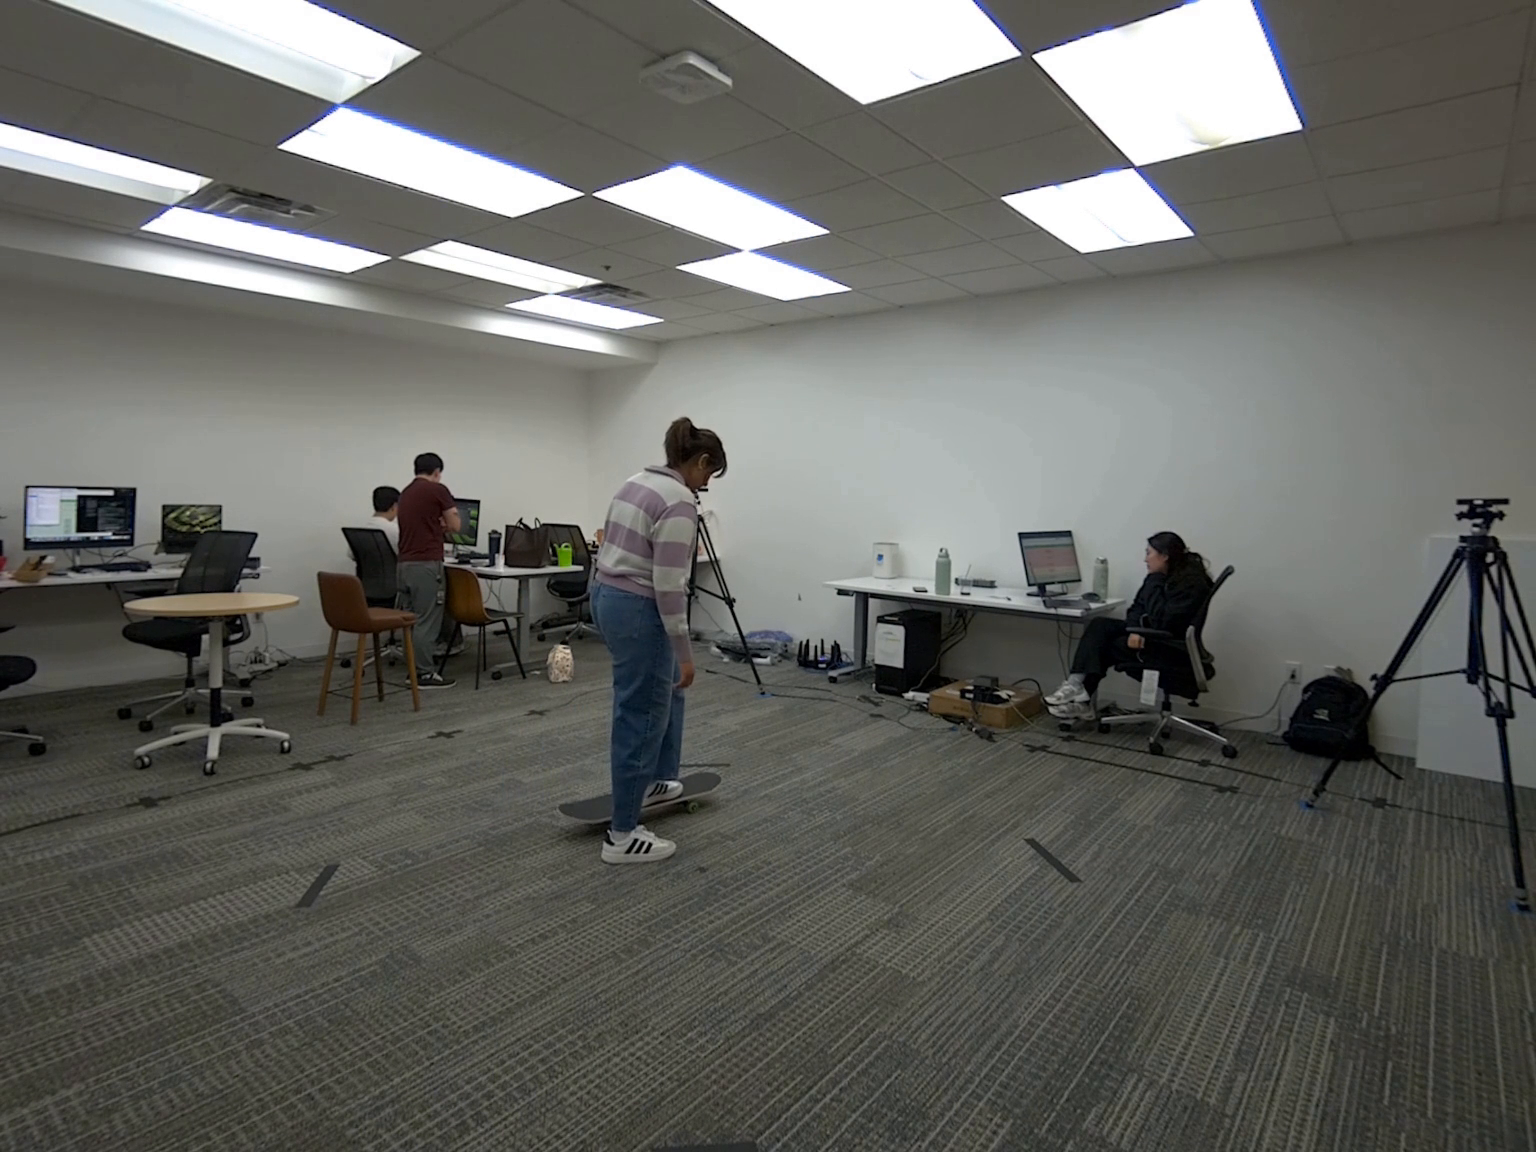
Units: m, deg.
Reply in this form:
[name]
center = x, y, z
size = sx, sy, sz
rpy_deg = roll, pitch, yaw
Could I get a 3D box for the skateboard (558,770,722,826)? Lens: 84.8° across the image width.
[skateboard]
center = -0.535, 0.962, 3.596
size = 0.762, 0.109, 0.200
rpy_deg = -4, 11, -38
